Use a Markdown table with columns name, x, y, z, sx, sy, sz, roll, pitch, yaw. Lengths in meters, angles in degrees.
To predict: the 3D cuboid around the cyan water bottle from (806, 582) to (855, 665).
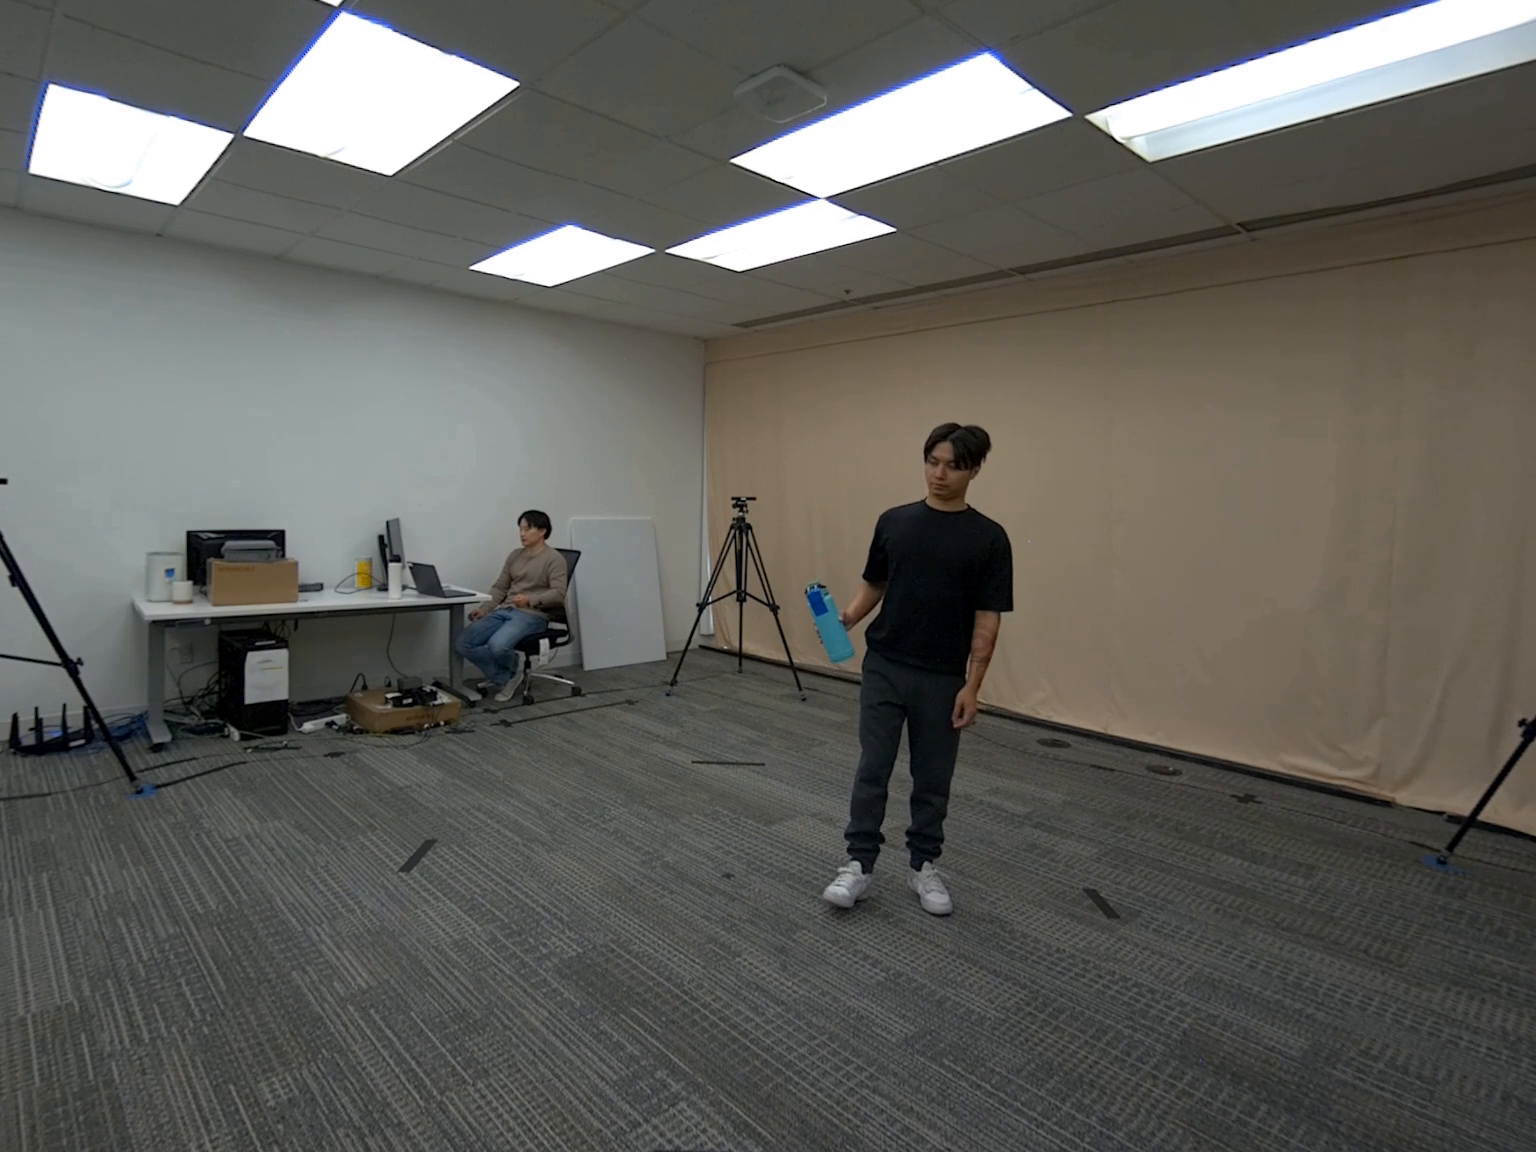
| name | x | y | z | sx | sy | sz | roll | pitch | yaw |
| --- | --- | --- | --- | --- | --- | --- | --- | --- | --- |
| cyan water bottle | 0.208 | 0.159 | 2.896 | 0.092 | 0.283 | 0.092 | -22 | 3 | 0 |
